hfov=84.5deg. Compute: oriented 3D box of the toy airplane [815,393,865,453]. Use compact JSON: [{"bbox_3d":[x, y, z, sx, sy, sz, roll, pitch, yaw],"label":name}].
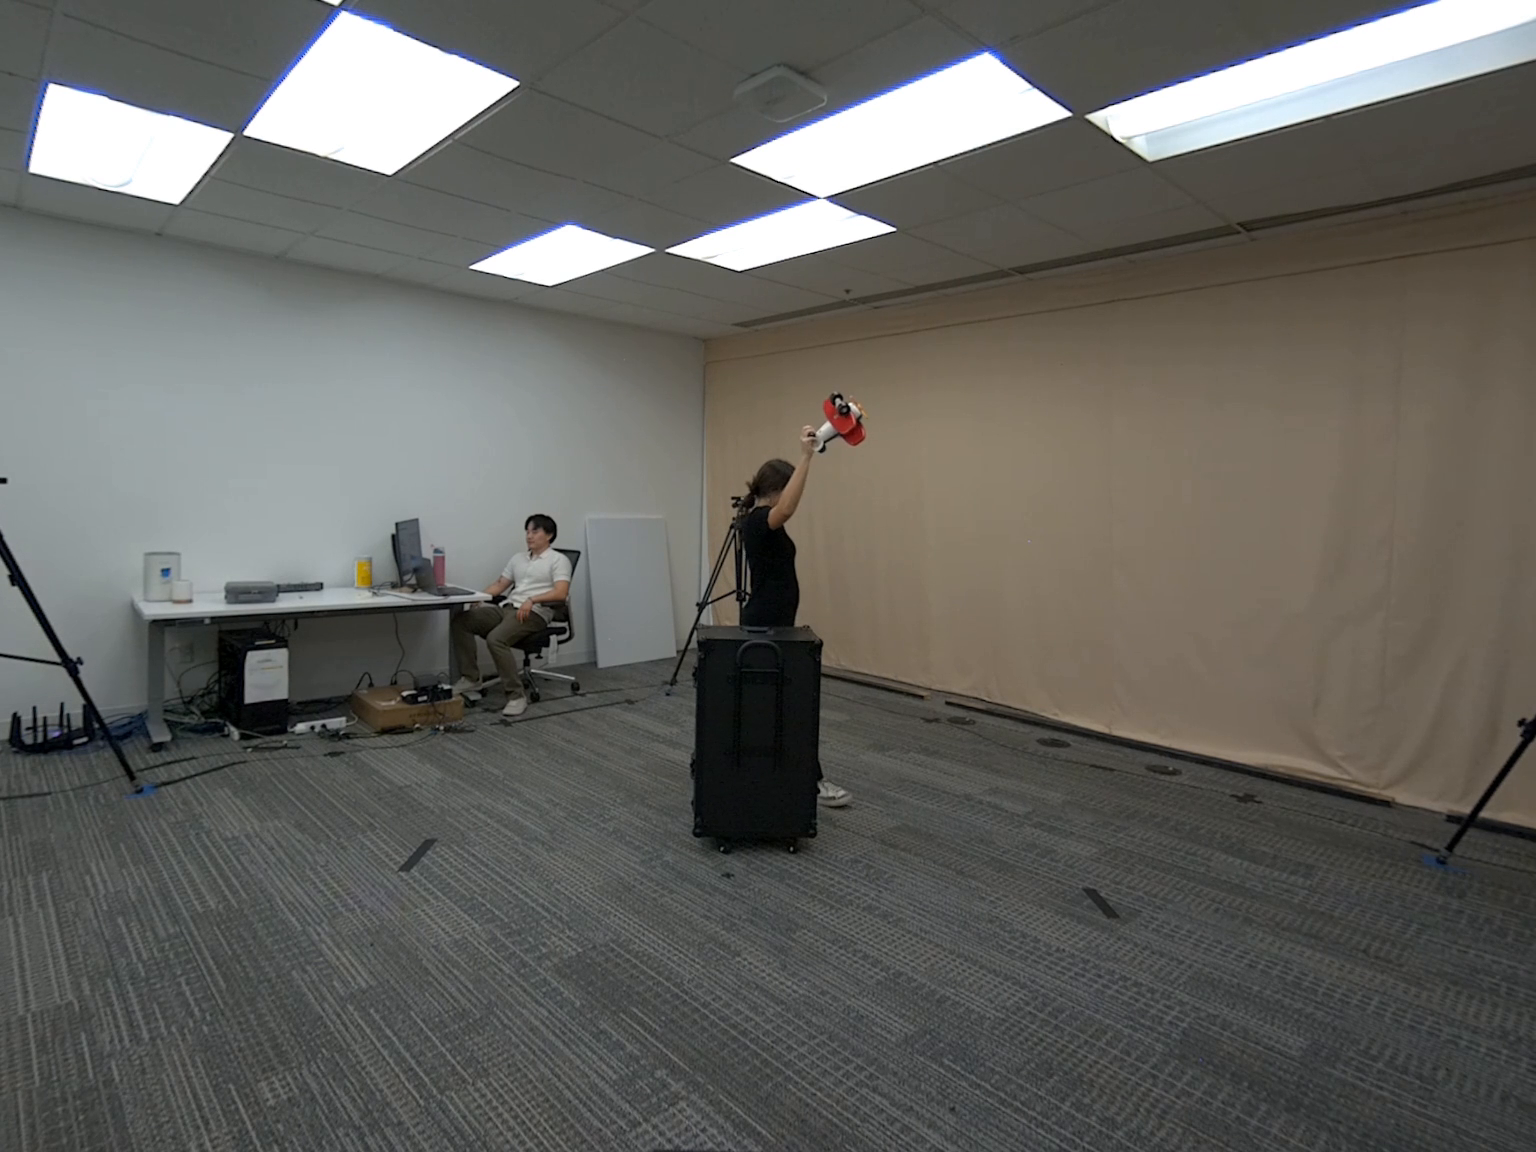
[{"bbox_3d":[0.259,-0.645,3.486,0.152,0.255,0.262,25,-35,-36],"label":"toy airplane"}]
